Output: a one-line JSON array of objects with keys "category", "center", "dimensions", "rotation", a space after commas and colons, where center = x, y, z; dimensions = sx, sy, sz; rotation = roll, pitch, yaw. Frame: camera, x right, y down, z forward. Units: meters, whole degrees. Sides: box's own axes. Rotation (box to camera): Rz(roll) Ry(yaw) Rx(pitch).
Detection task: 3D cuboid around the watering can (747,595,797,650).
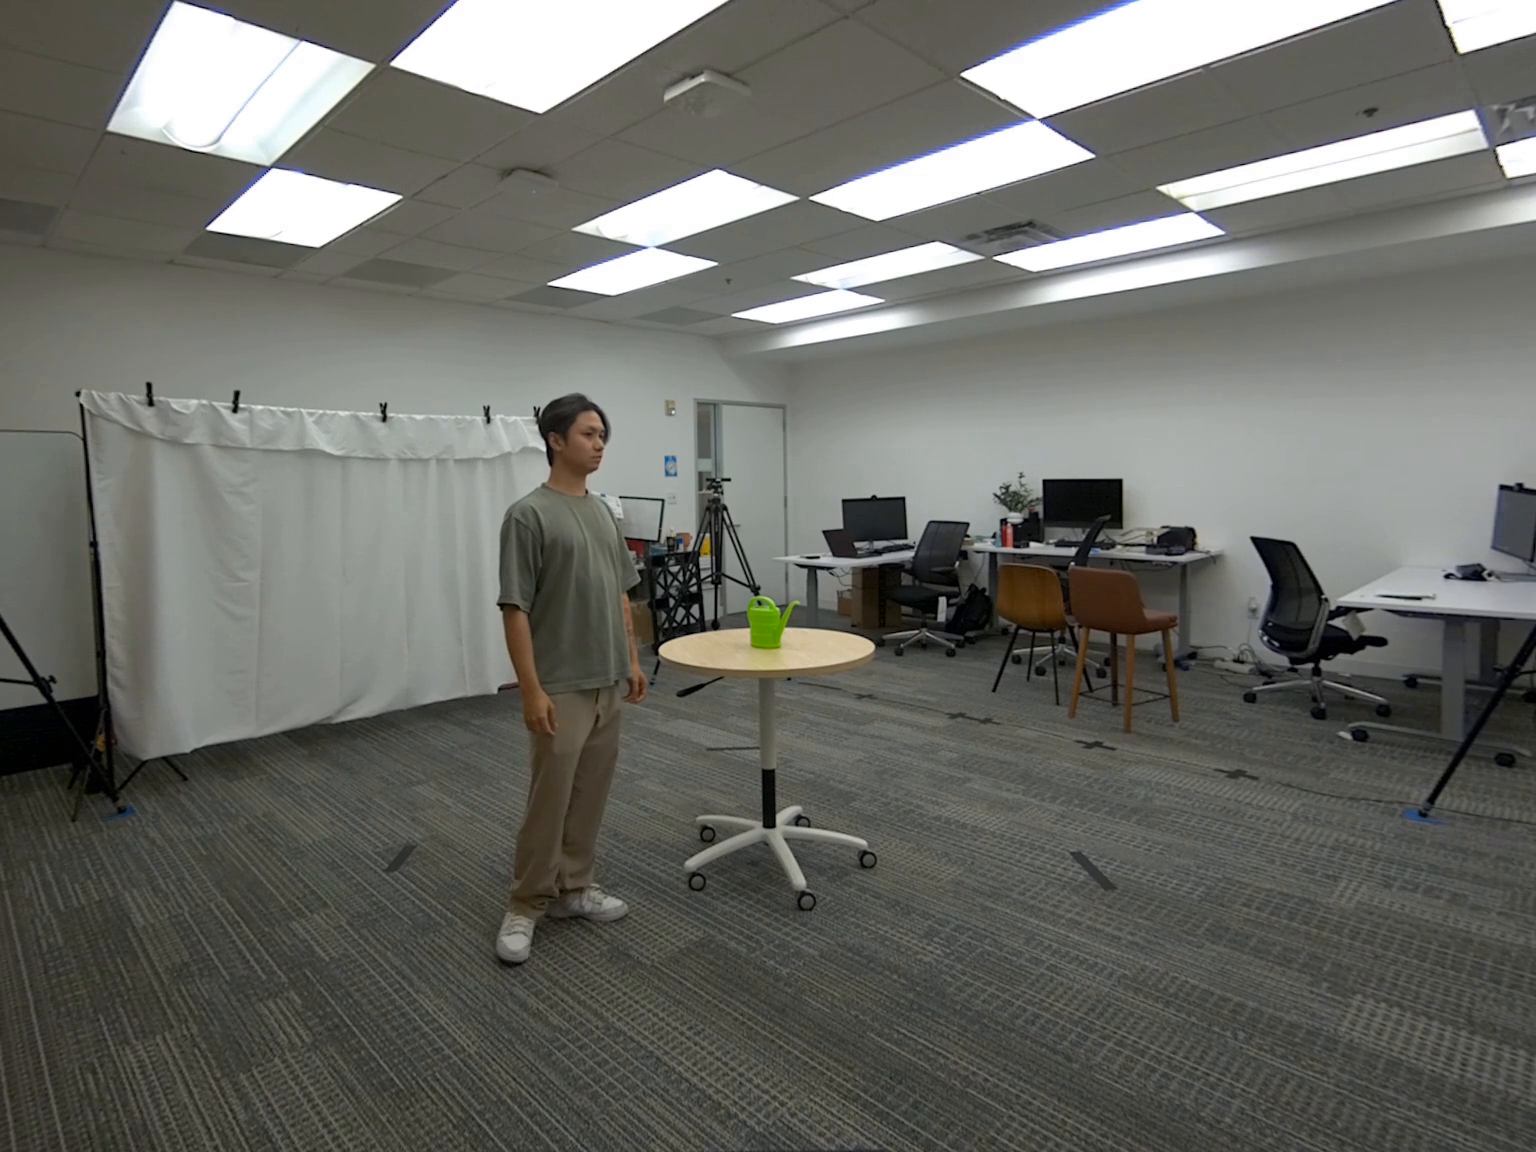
[{"category": "watering can", "center": [0.011, 0.167, 3.005], "dimensions": [0.096, 0.176, 0.284], "rotation": [-4, 5, -23]}]
